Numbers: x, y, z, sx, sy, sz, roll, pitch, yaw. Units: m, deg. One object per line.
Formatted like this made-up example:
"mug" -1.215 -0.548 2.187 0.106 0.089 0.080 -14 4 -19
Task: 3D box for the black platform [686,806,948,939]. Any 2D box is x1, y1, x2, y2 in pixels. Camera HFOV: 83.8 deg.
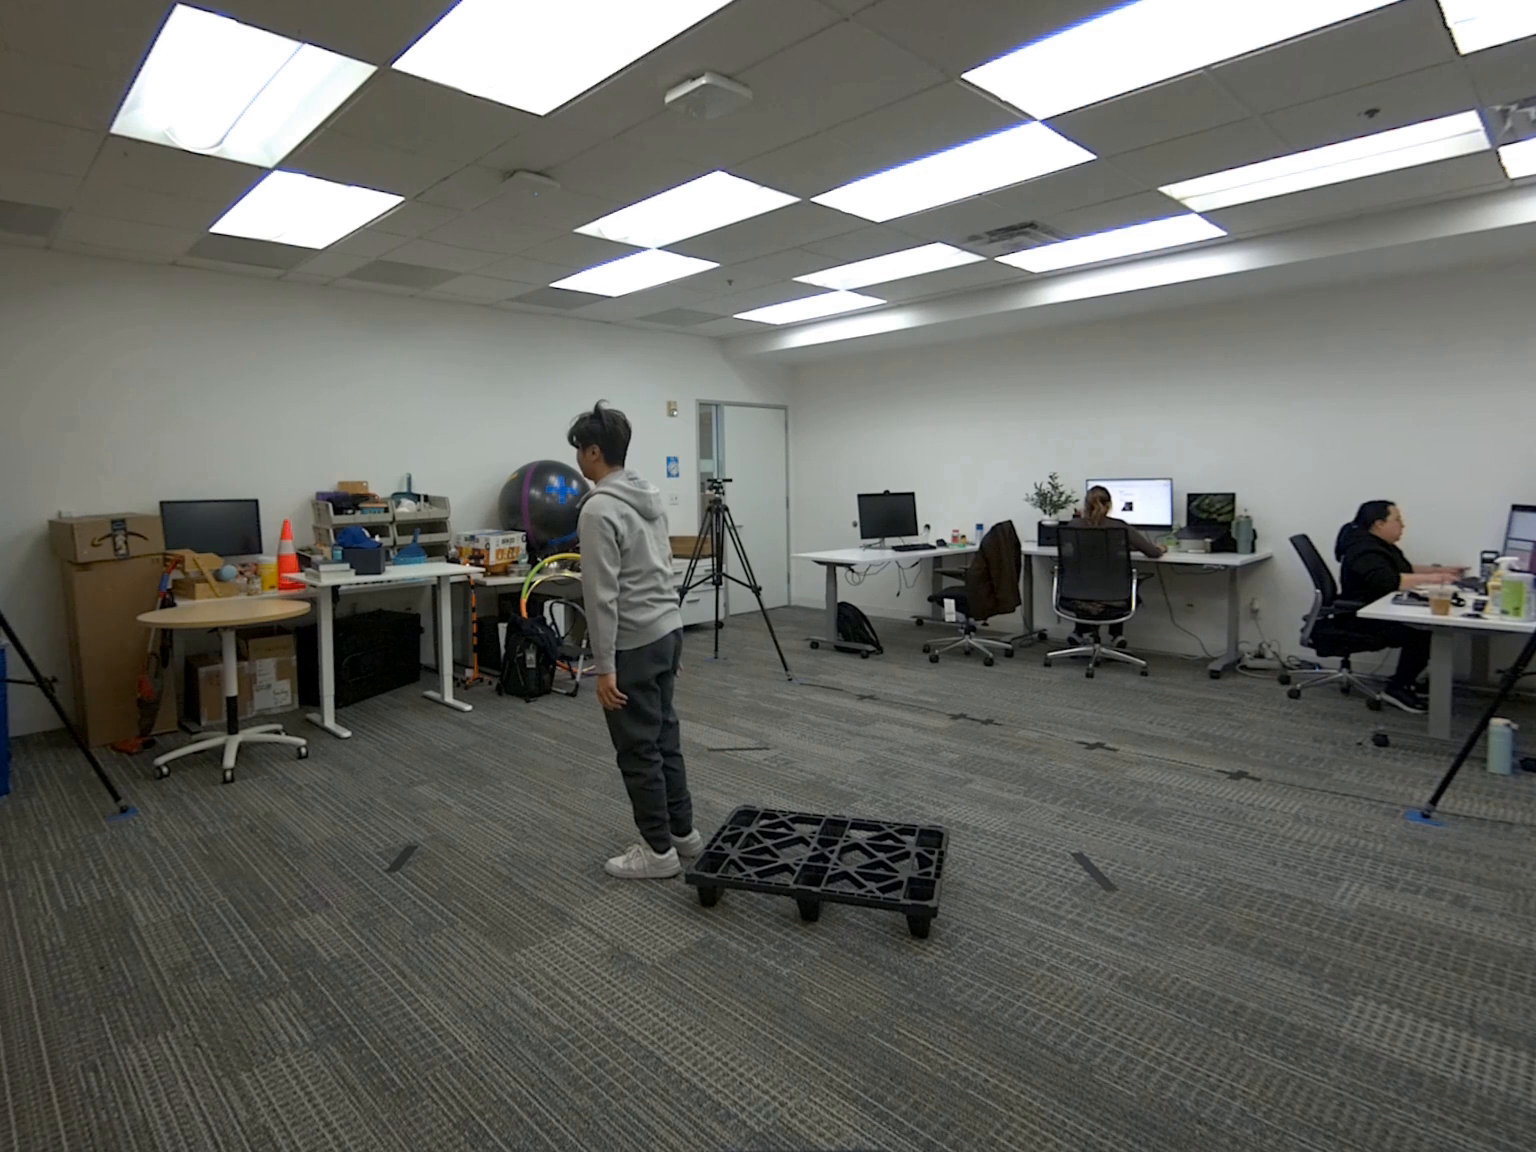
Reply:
"black platform" 0.187 0.995 2.918 0.819 0.143 0.598 1 6 17
